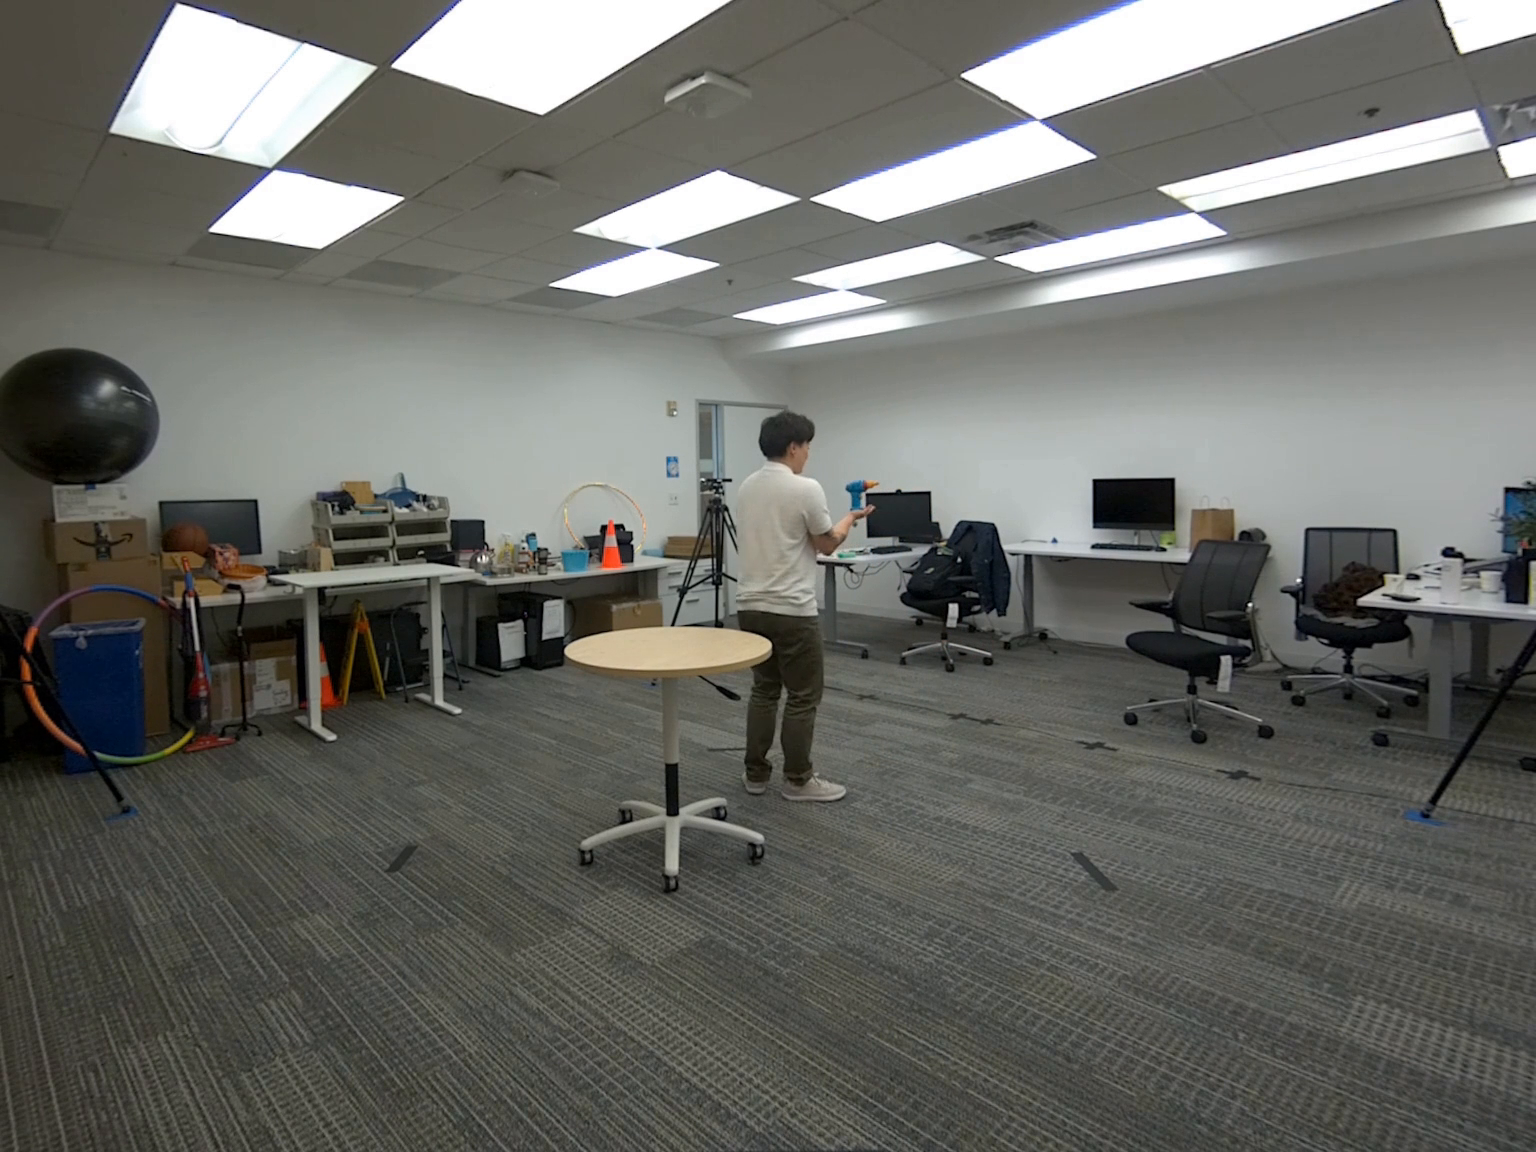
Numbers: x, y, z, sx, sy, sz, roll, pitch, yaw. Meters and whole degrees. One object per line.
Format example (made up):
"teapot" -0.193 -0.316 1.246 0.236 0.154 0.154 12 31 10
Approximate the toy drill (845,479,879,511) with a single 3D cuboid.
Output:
"toy drill" 0.427 -0.367 3.851 0.173 0.146 0.059 -8 -4 29
